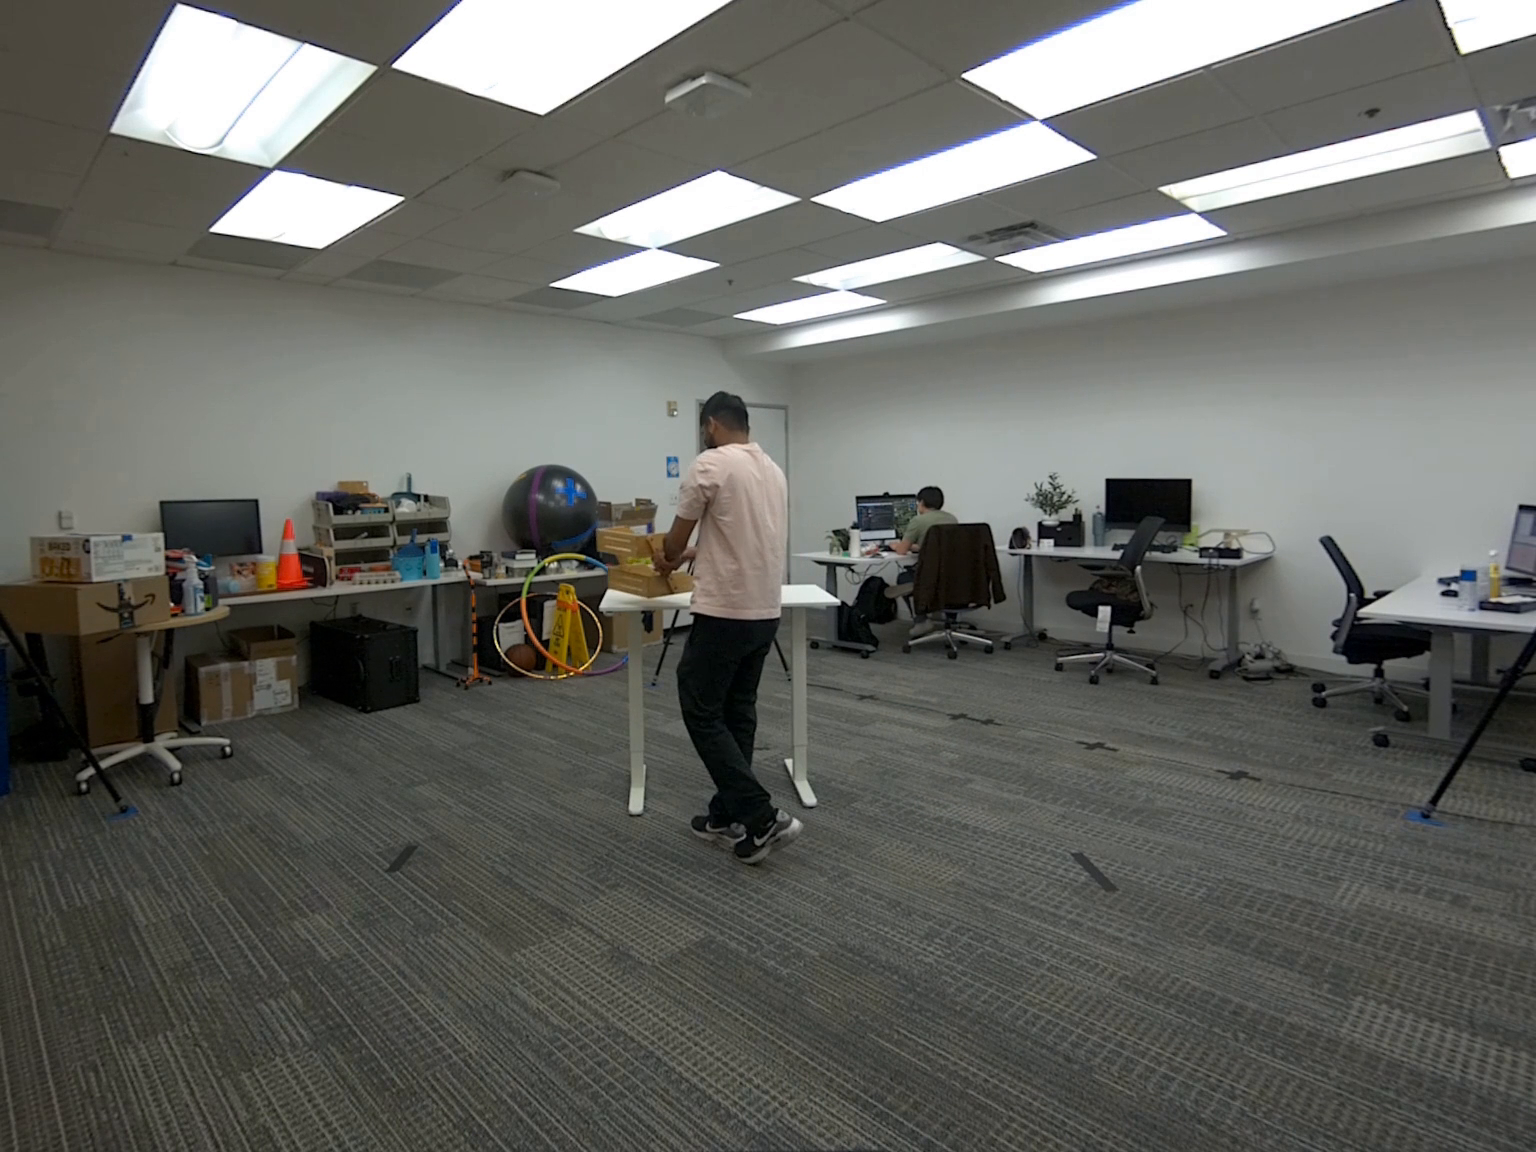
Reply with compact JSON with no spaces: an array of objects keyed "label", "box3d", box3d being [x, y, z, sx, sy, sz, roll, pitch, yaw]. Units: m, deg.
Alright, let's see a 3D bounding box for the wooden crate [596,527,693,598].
[{"label":"wooden crate","box3d":[-0.505,-0.070,3.584,0.294,0.271,0.335,-9,12,-42]}]
